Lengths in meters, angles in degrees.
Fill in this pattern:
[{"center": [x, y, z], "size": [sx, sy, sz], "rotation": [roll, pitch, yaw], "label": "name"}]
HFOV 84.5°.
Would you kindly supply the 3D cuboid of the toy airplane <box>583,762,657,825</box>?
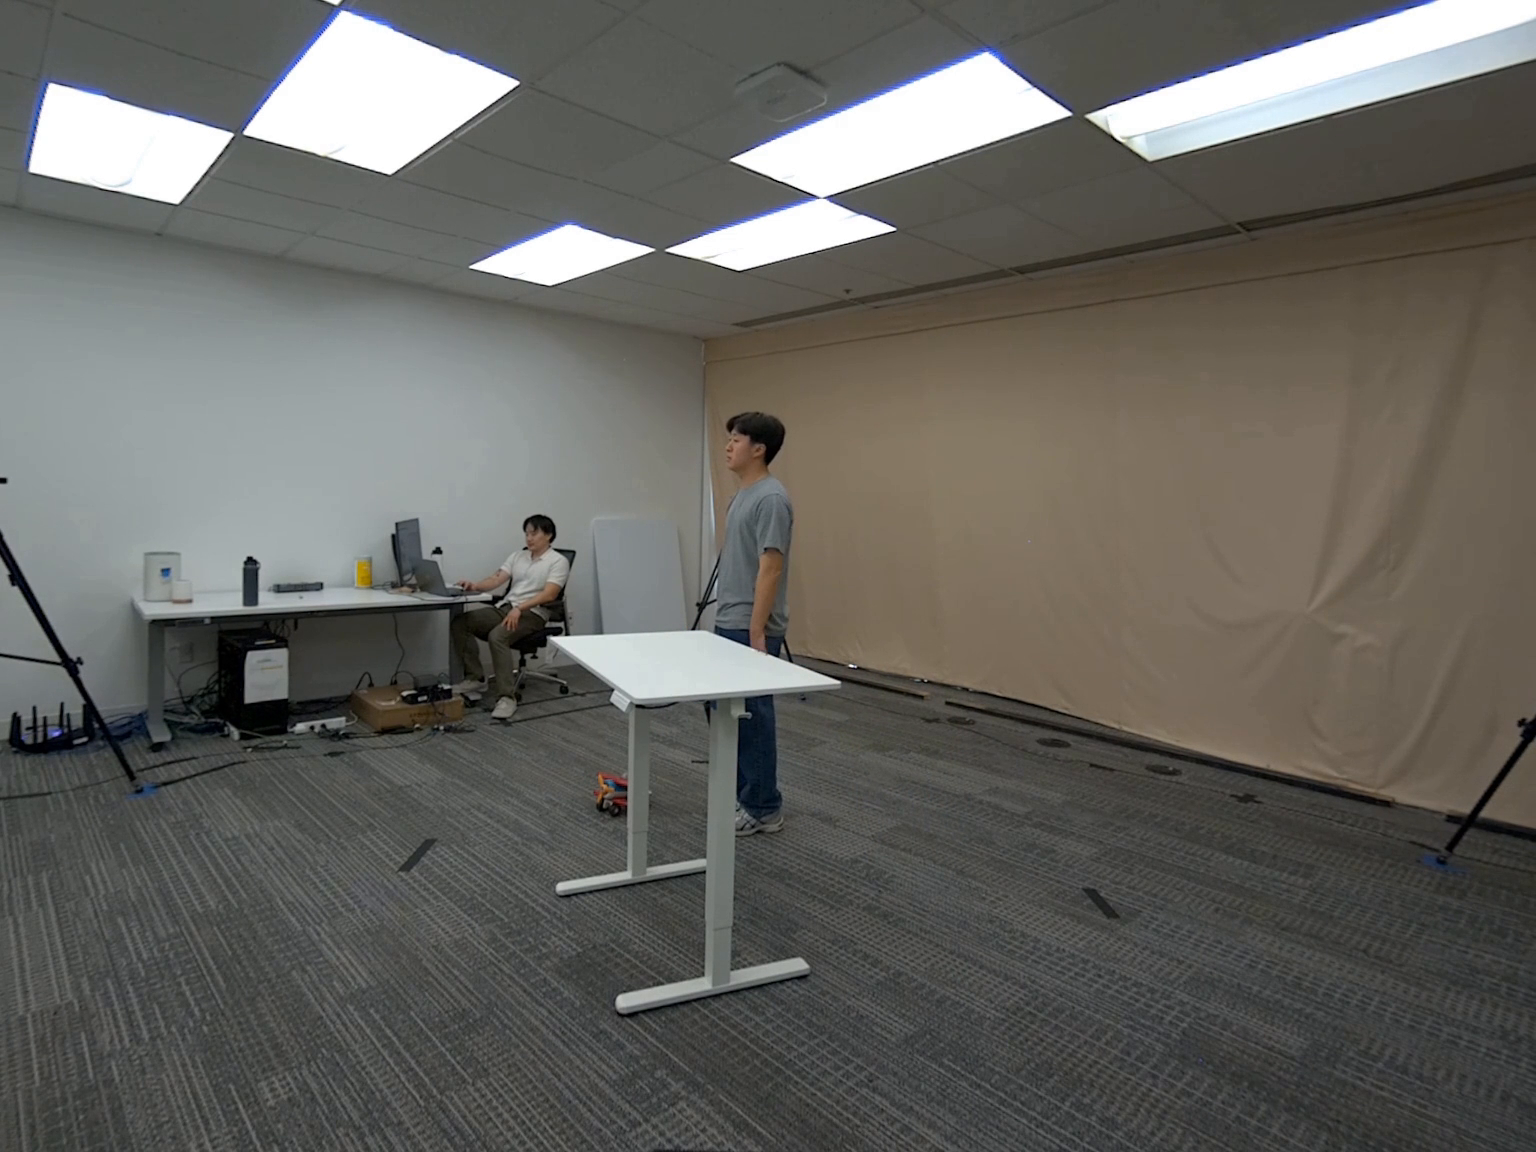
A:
[{"center": [-0.655, 0.957, 3.753], "size": [0.253, 0.156, 0.258], "rotation": [3, 6, 11], "label": "toy airplane"}]
